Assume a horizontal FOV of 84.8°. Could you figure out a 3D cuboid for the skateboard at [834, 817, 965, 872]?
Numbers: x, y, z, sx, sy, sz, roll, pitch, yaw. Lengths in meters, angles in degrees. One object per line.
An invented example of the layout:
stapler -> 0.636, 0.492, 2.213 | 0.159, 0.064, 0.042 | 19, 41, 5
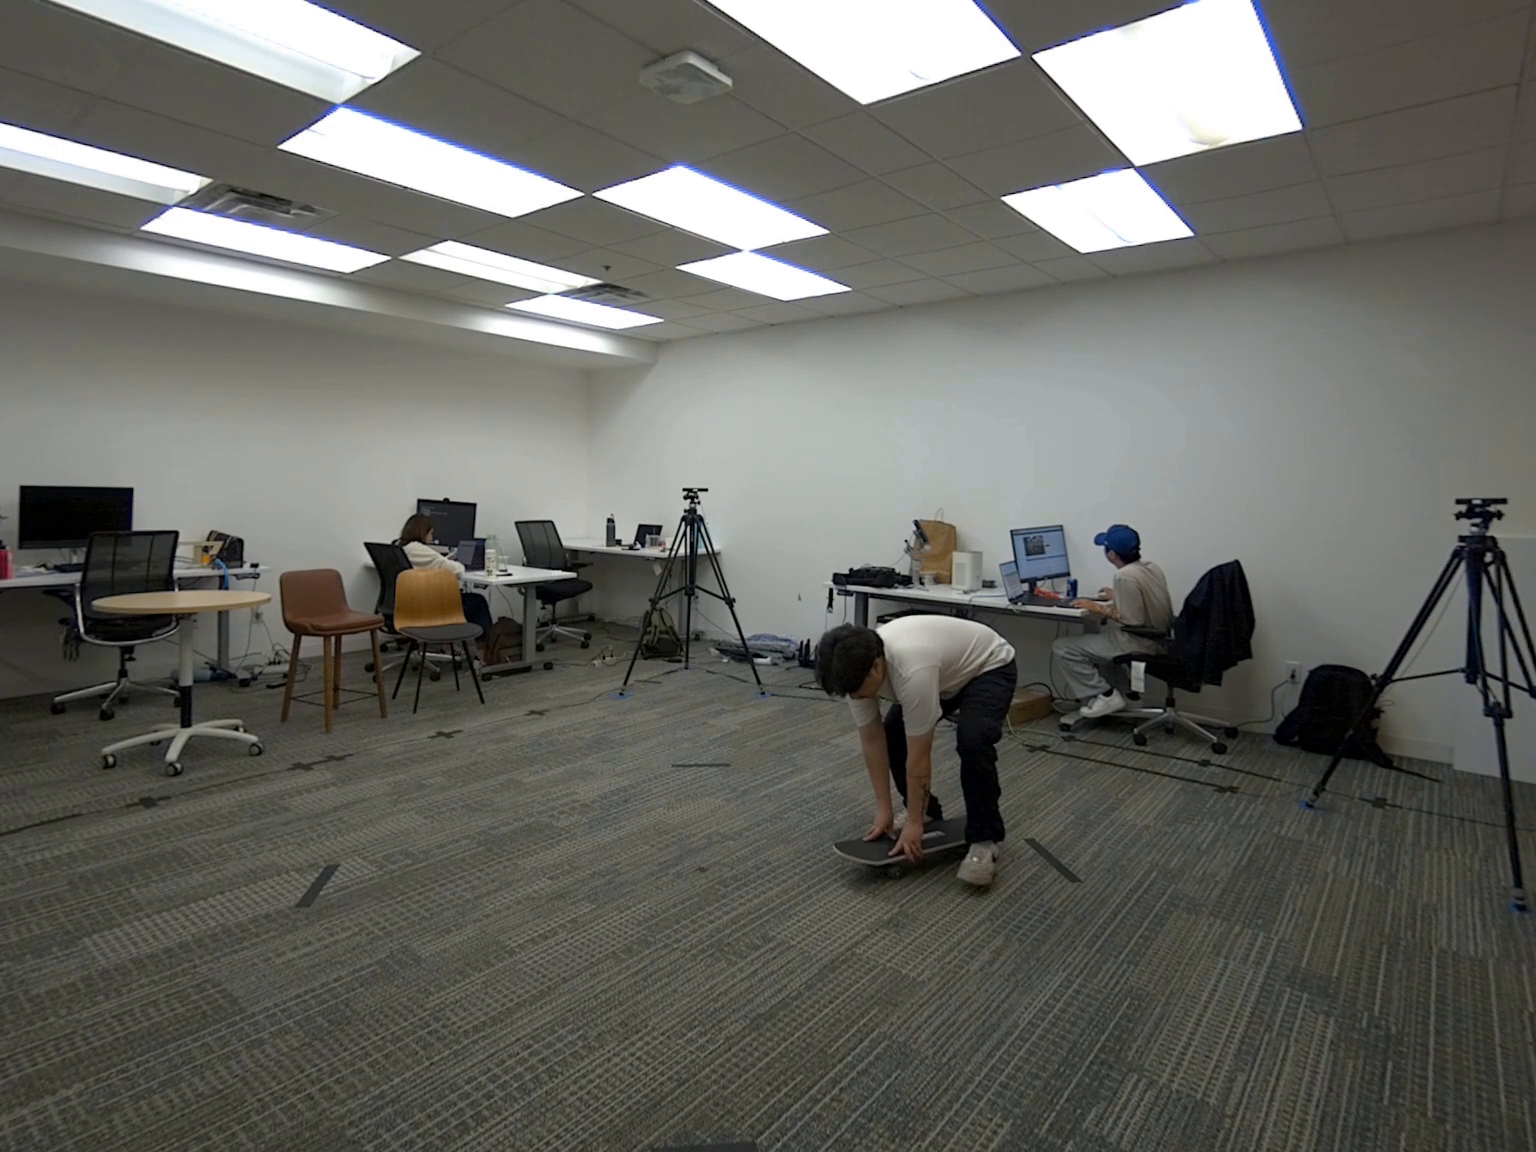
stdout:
skateboard -> 0.580, 1.026, 3.242 | 0.765, 0.110, 0.199 | -2, 6, -29
